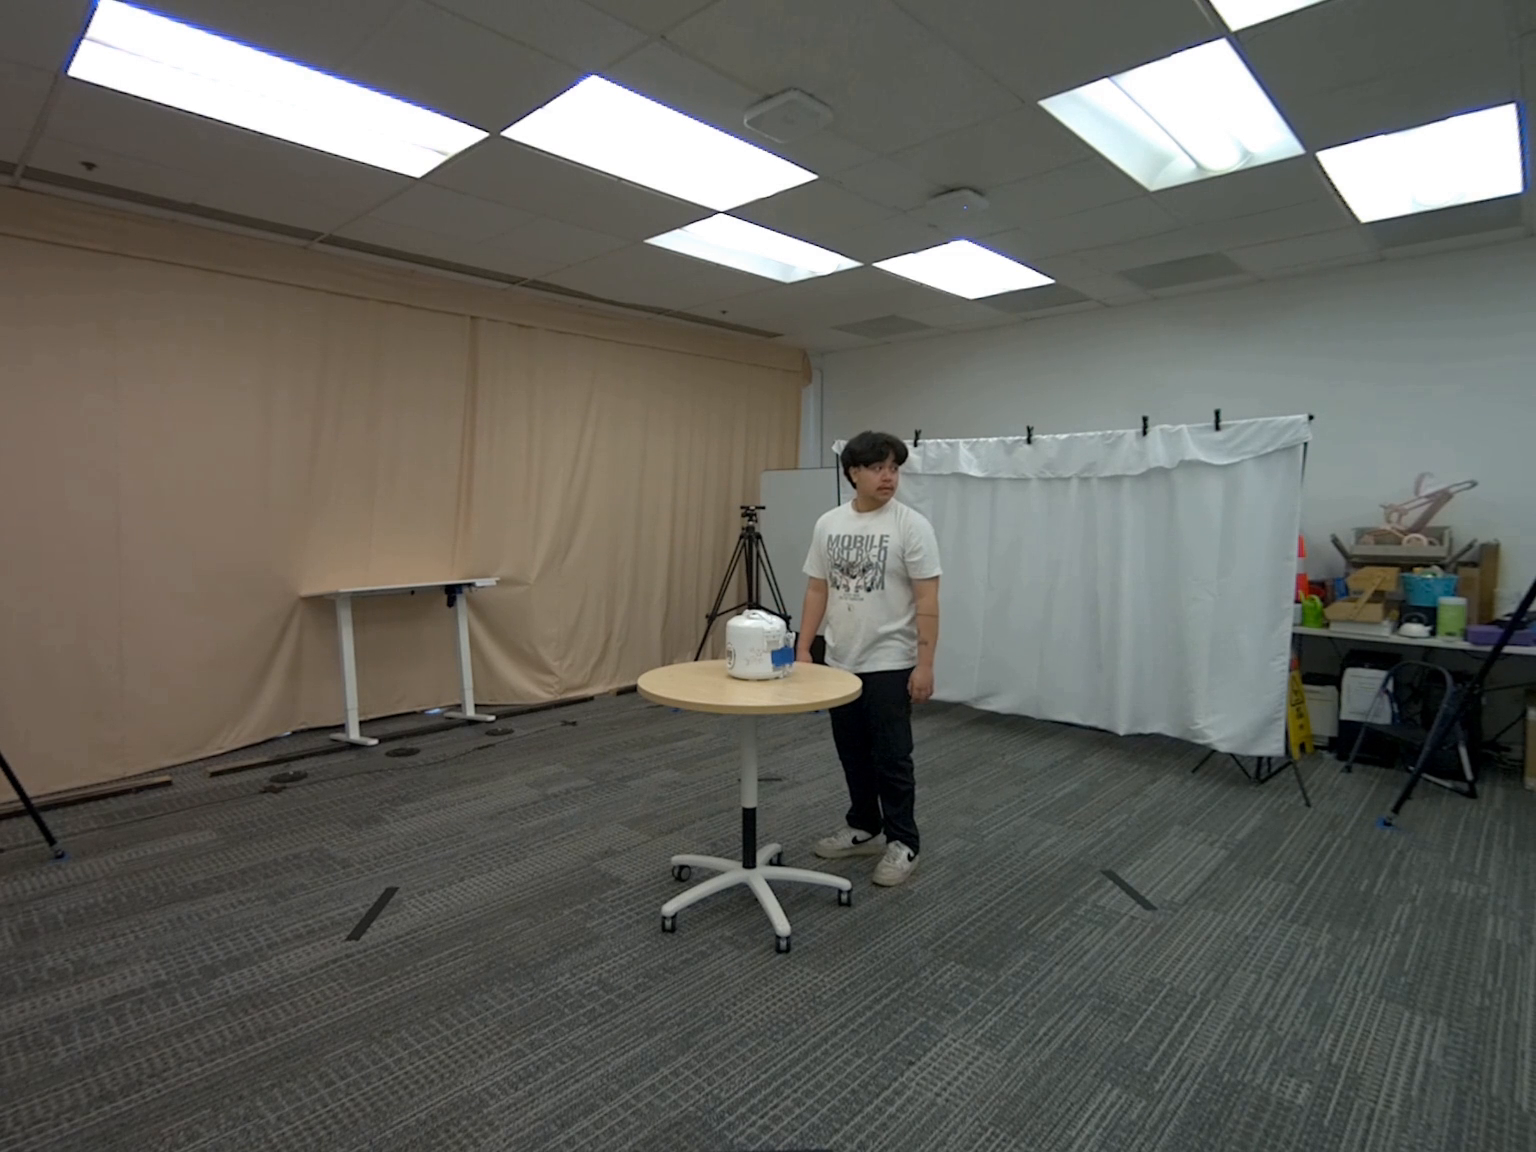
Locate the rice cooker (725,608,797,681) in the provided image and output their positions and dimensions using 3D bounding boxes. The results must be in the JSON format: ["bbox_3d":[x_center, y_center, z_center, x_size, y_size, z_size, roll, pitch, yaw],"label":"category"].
[{"bbox_3d":[-0.042,0.233,2.934,0.211,0.232,0.227,-1,4,-31],"label":"rice cooker"}]
